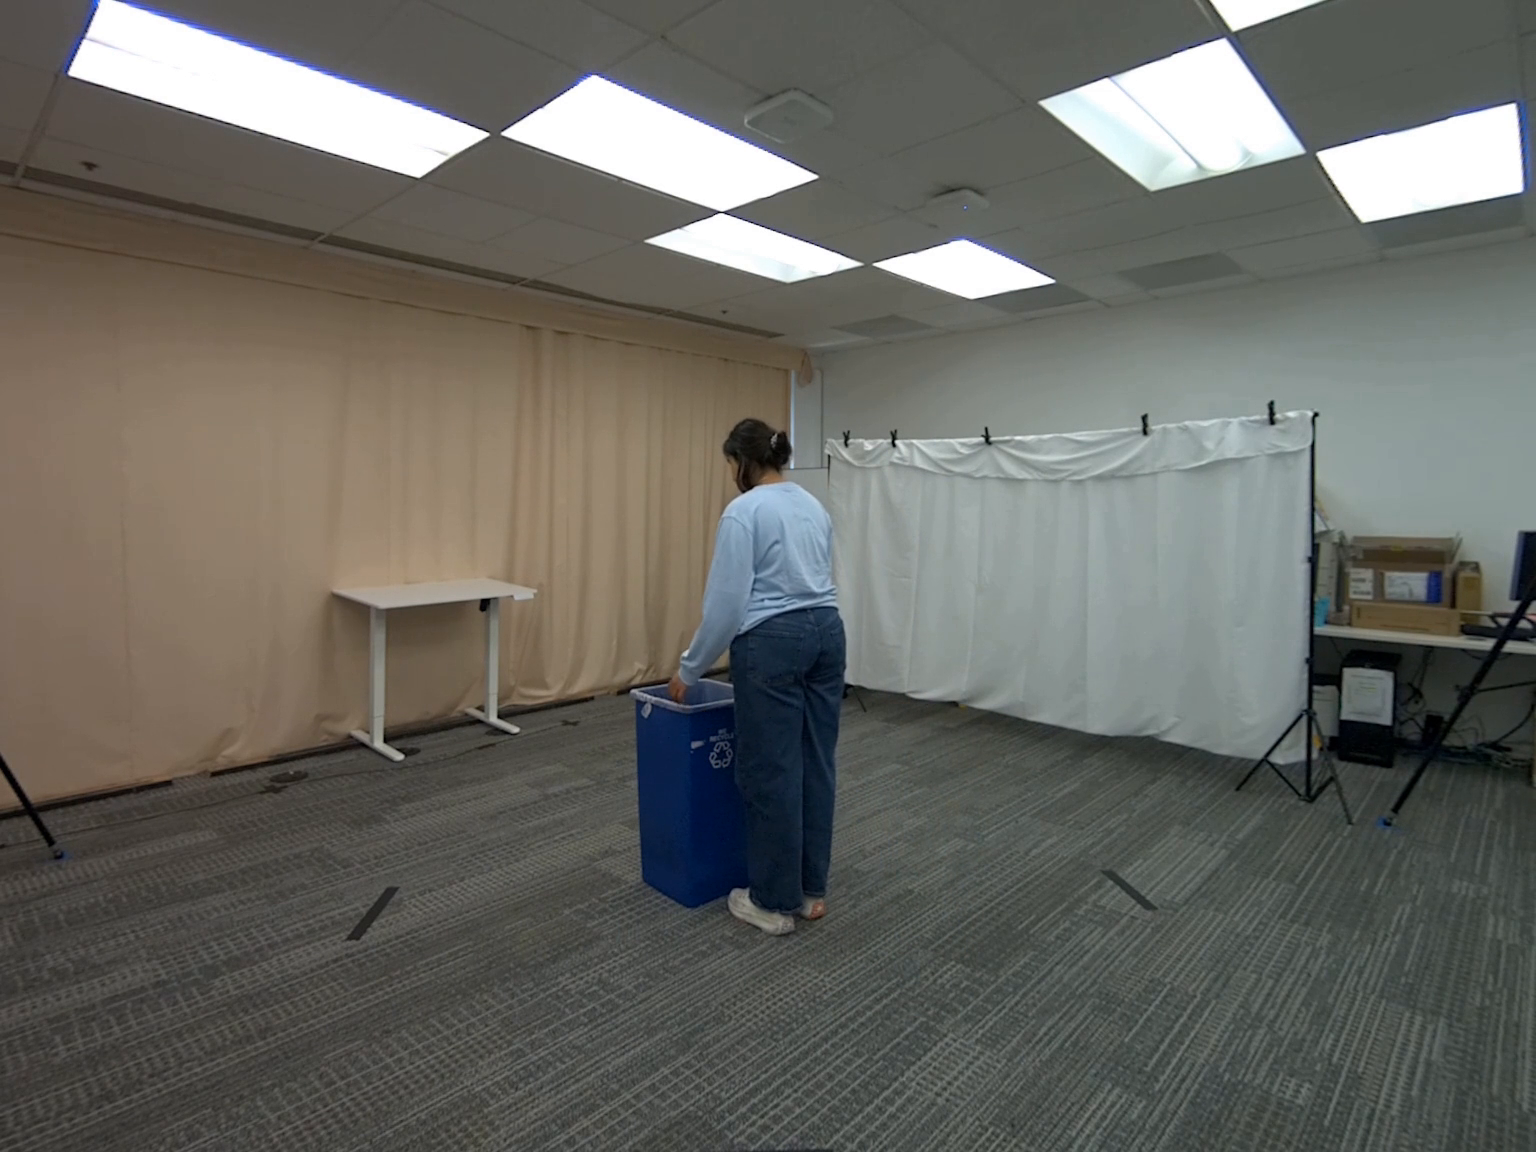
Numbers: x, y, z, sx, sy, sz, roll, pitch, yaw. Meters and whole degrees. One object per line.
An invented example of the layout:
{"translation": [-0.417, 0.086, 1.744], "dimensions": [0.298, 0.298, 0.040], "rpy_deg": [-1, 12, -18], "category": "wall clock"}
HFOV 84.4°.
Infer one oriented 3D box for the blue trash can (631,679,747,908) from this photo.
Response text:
{"translation": [-0.259, 0.778, 3.105], "dimensions": [0.363, 0.712, 0.391], "rpy_deg": [-3, 5, -42], "category": "blue trash can"}
